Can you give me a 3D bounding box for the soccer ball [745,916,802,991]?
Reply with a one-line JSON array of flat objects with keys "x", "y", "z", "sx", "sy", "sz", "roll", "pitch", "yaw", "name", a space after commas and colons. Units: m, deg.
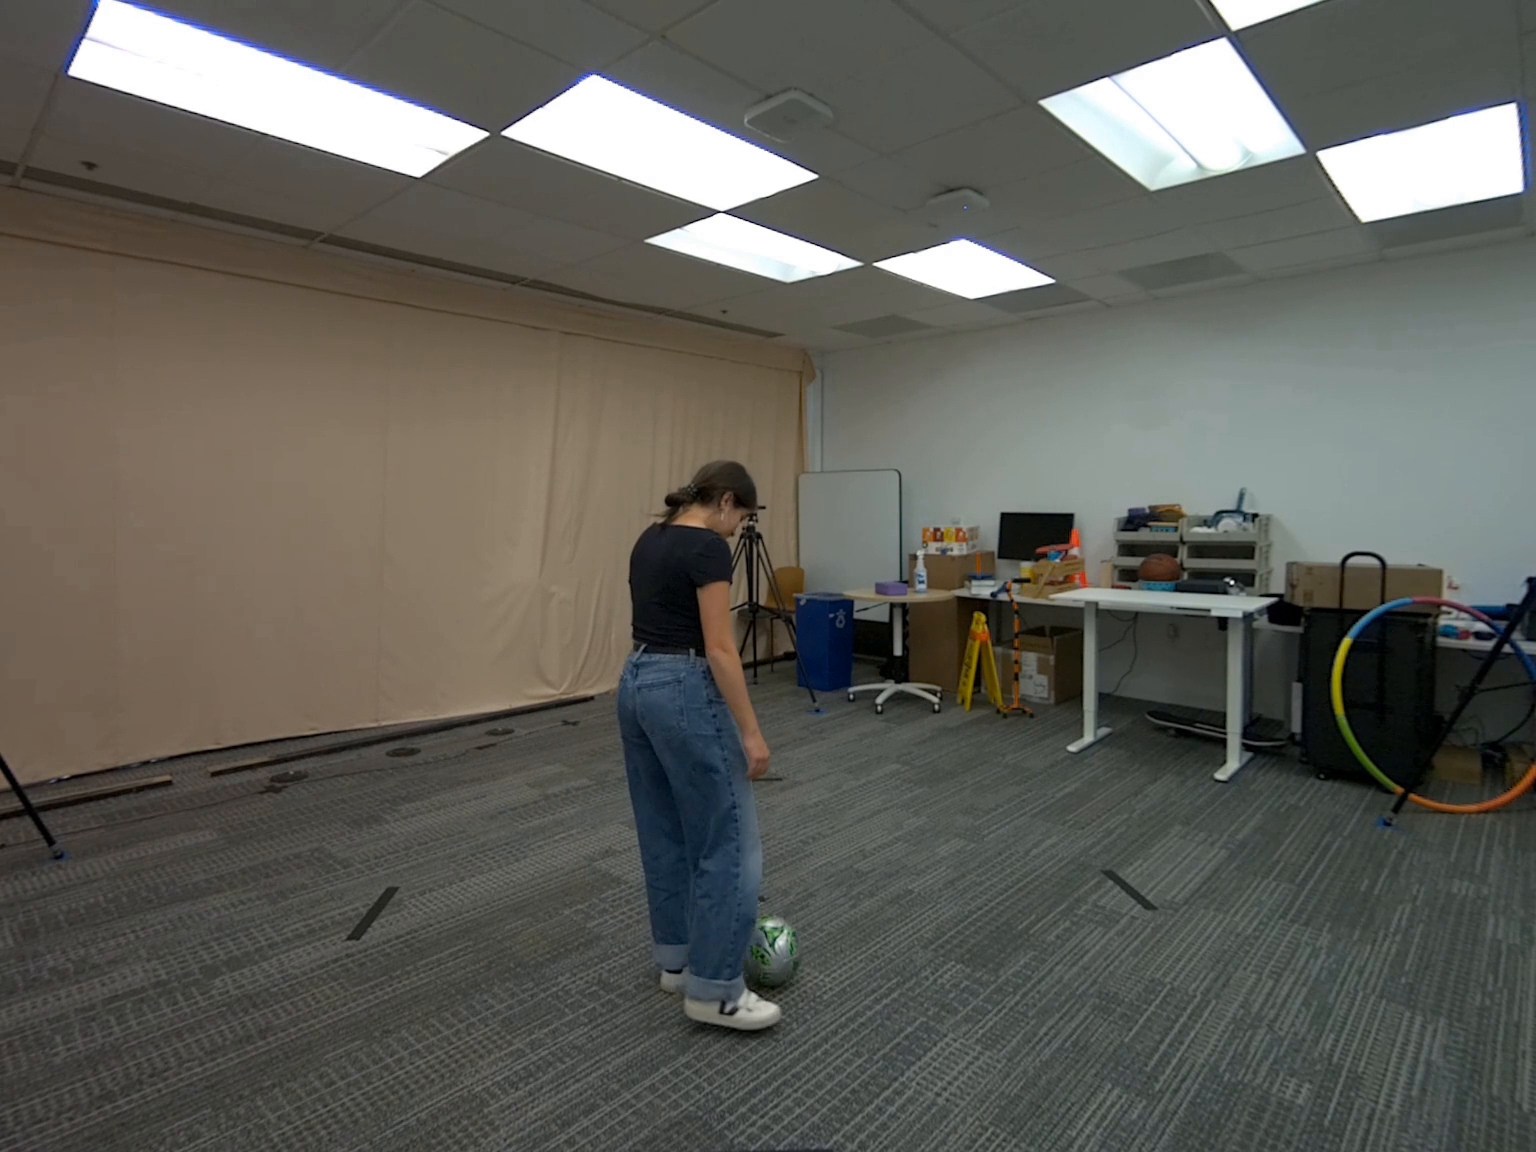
[{"x": 0.022, "y": 1.096, "z": 2.451, "sx": 0.187, "sy": 0.187, "sz": 0.188, "roll": 0, "pitch": 4, "yaw": -2, "name": "soccer ball"}]
